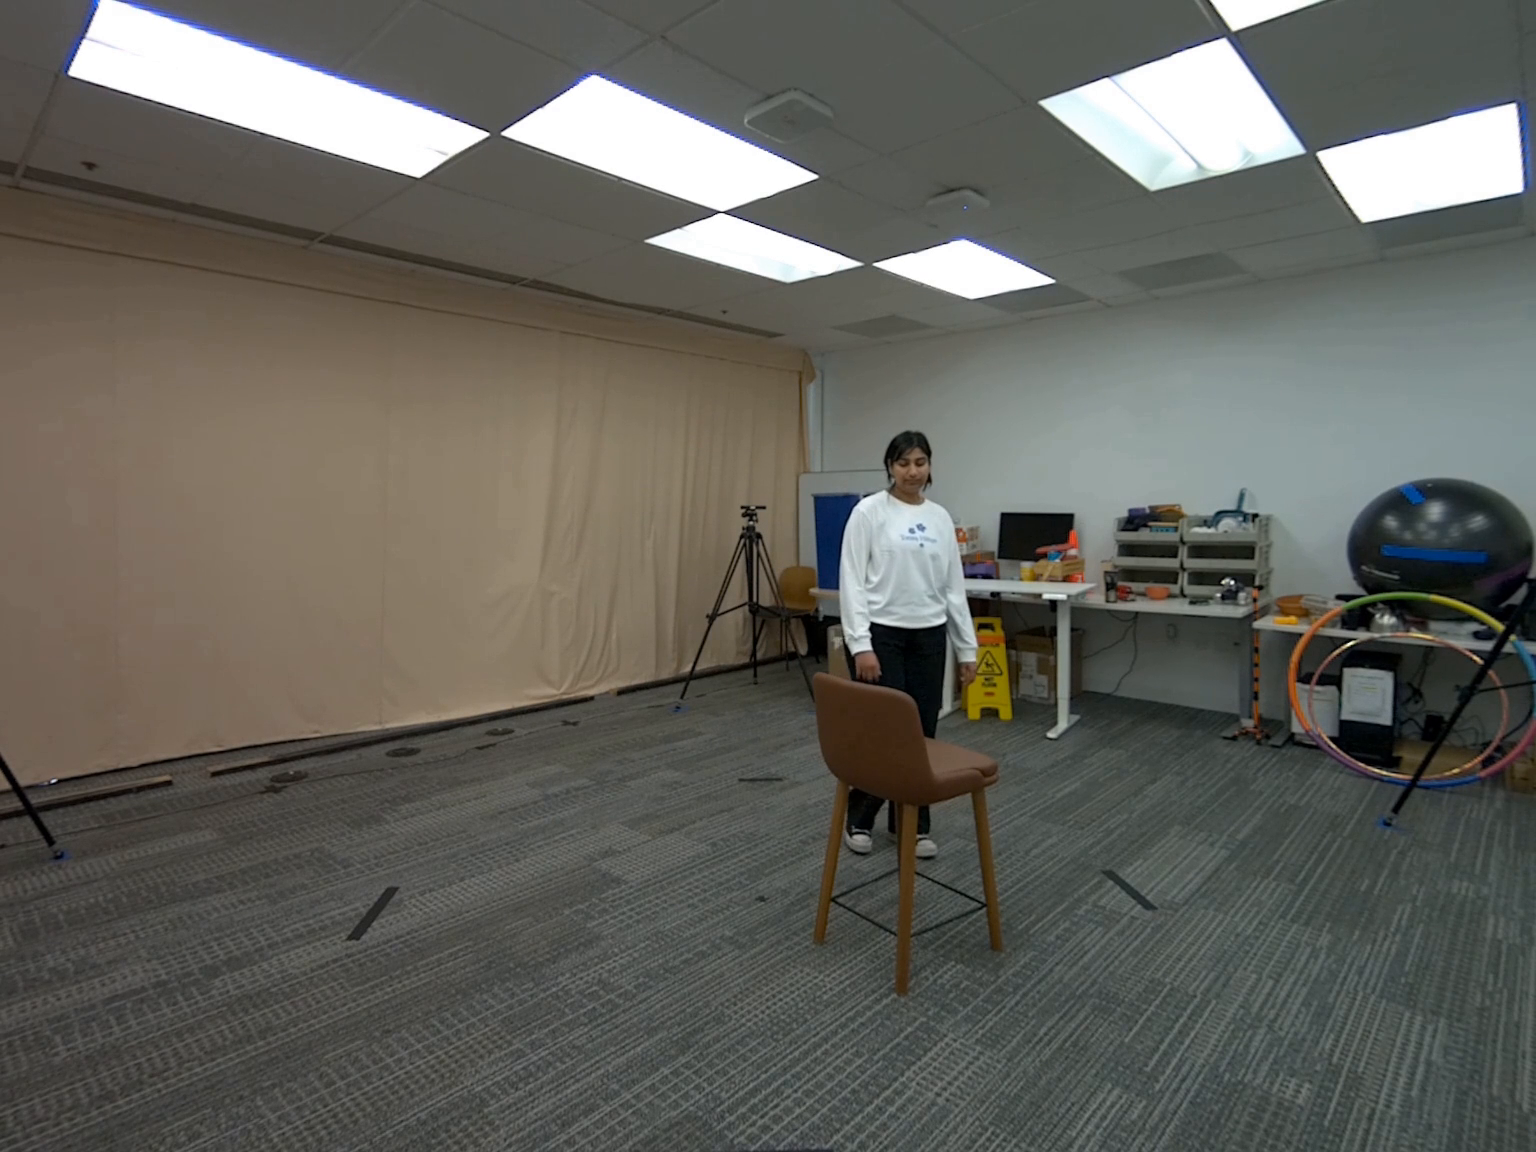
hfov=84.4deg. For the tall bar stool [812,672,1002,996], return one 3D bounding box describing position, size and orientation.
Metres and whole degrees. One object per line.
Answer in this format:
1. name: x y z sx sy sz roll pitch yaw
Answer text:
1. tall bar stool: 0.437 0.735 2.648 0.454 0.887 0.471 -5 6 -38
